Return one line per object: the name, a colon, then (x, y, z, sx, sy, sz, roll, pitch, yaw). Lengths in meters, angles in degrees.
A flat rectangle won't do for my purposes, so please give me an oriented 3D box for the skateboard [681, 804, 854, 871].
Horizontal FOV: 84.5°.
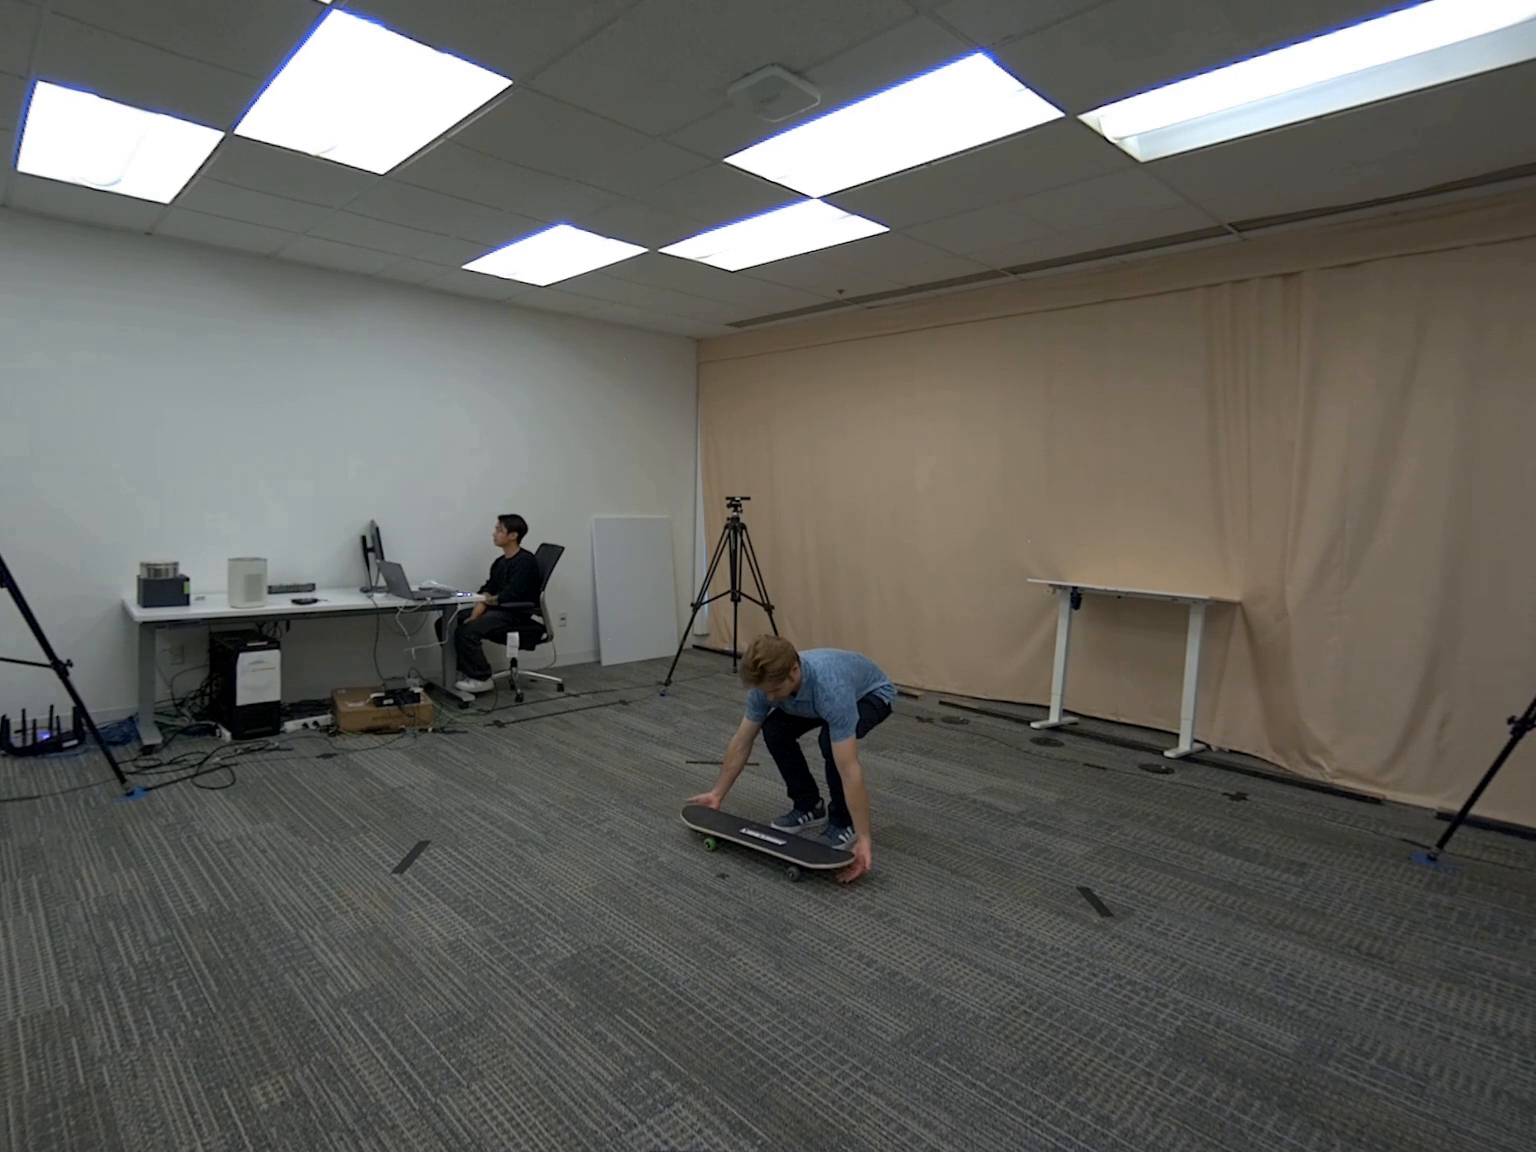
skateboard: (-0.029, 1.036, 3.265, 0.805, 0.110, 0.189, 6, 6, 37)
